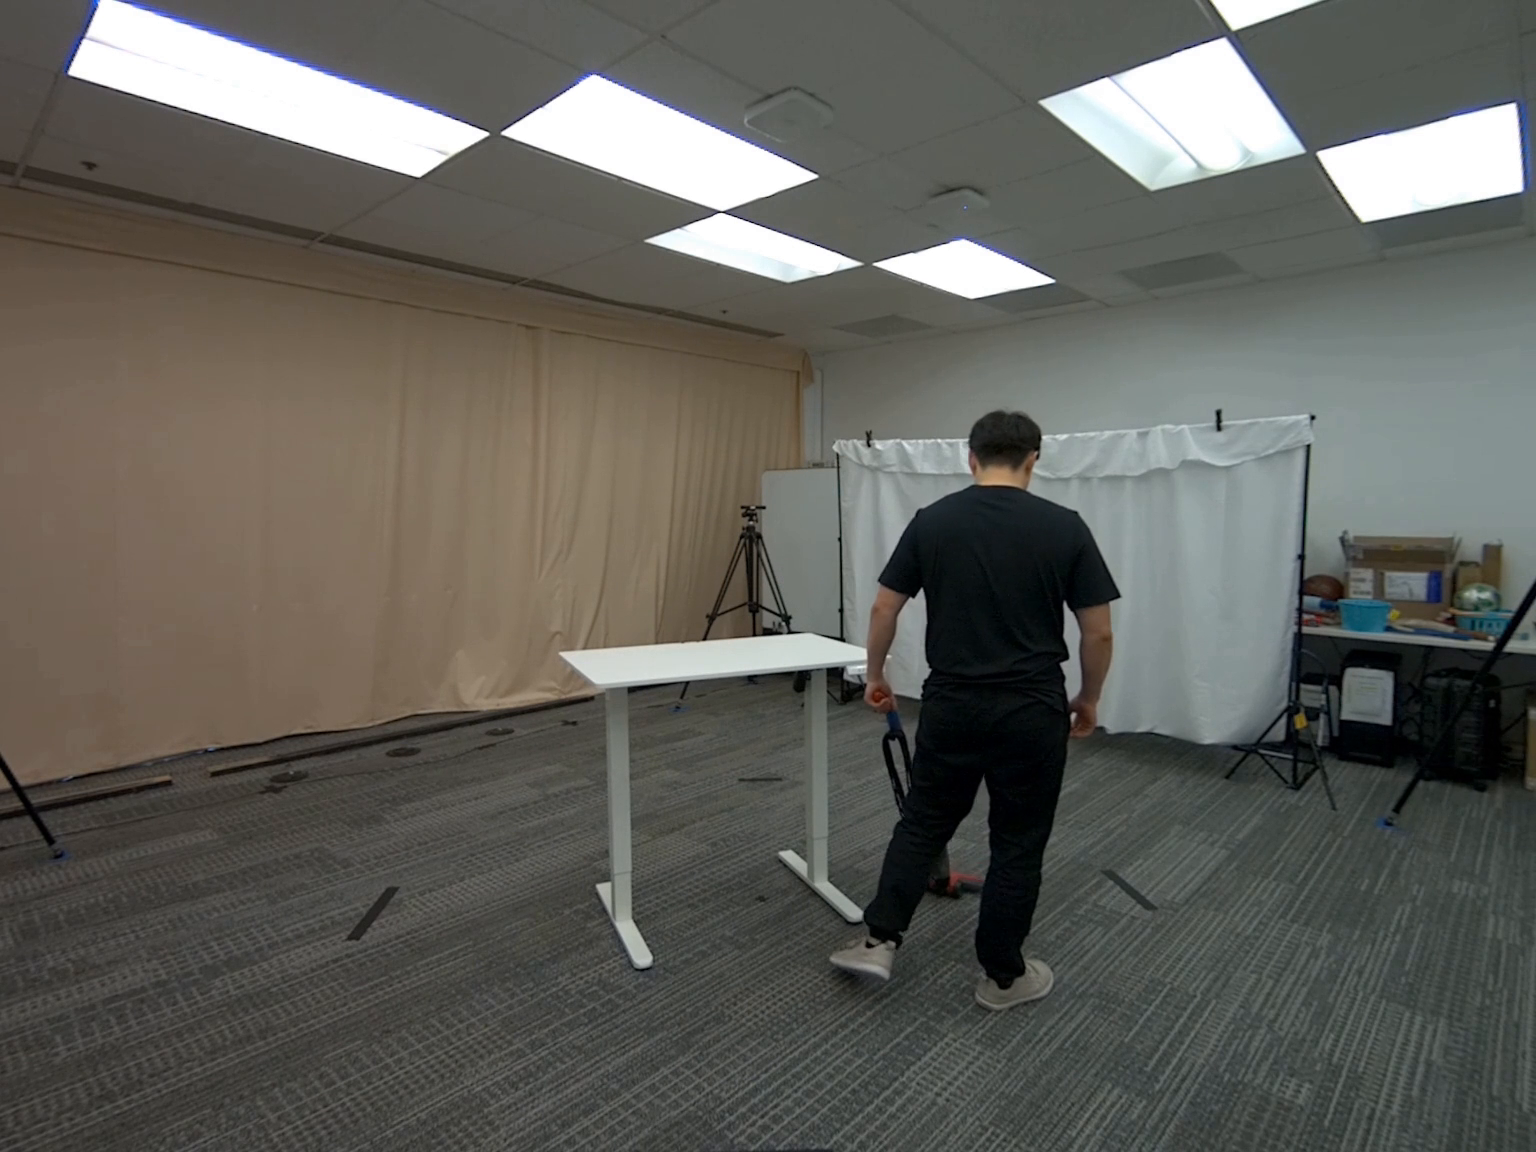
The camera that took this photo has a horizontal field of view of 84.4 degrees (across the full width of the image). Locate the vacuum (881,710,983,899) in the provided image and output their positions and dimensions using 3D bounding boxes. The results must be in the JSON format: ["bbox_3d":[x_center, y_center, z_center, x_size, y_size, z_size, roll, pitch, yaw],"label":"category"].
[{"bbox_3d":[0.492,0.753,2.773,0.260,1.019,0.144,1,43,30],"label":"vacuum"}]
